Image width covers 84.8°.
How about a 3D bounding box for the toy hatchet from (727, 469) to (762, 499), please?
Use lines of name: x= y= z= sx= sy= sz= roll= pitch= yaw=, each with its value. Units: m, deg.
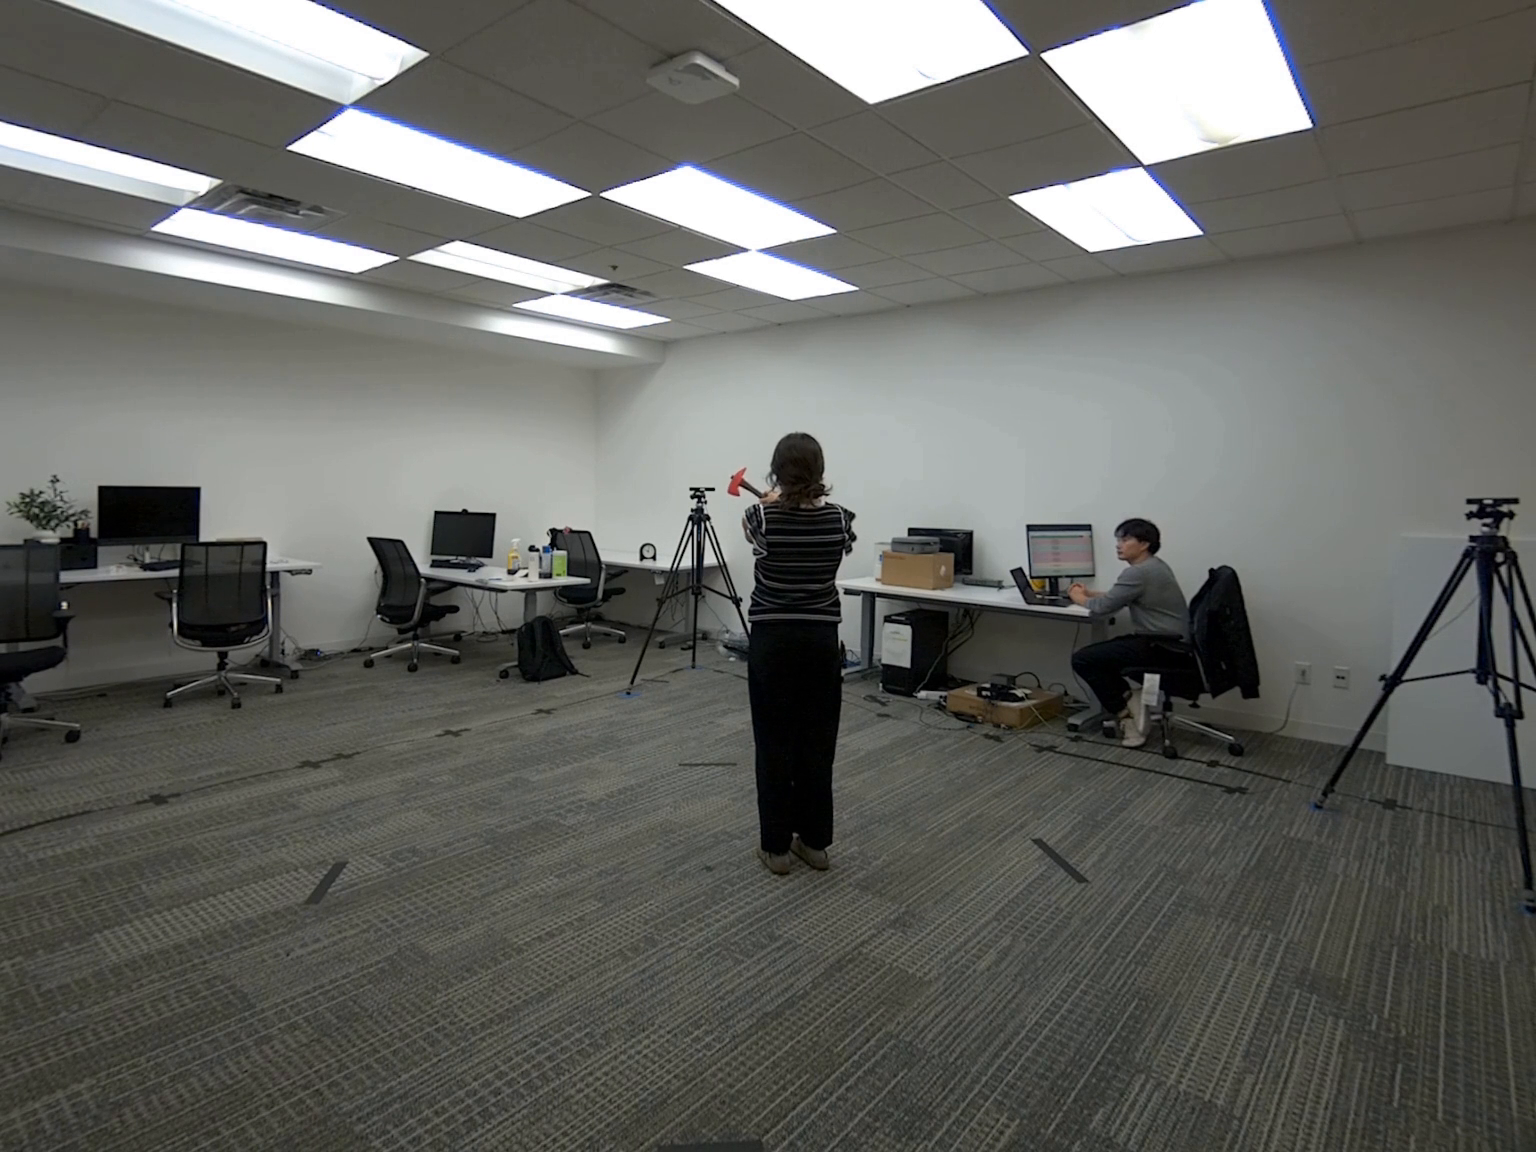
toy hatchet: x=-0.091 y=-0.334 z=3.695 sx=0.131 sy=0.276 sz=0.029 roll=-38 pitch=-15 yaw=5
